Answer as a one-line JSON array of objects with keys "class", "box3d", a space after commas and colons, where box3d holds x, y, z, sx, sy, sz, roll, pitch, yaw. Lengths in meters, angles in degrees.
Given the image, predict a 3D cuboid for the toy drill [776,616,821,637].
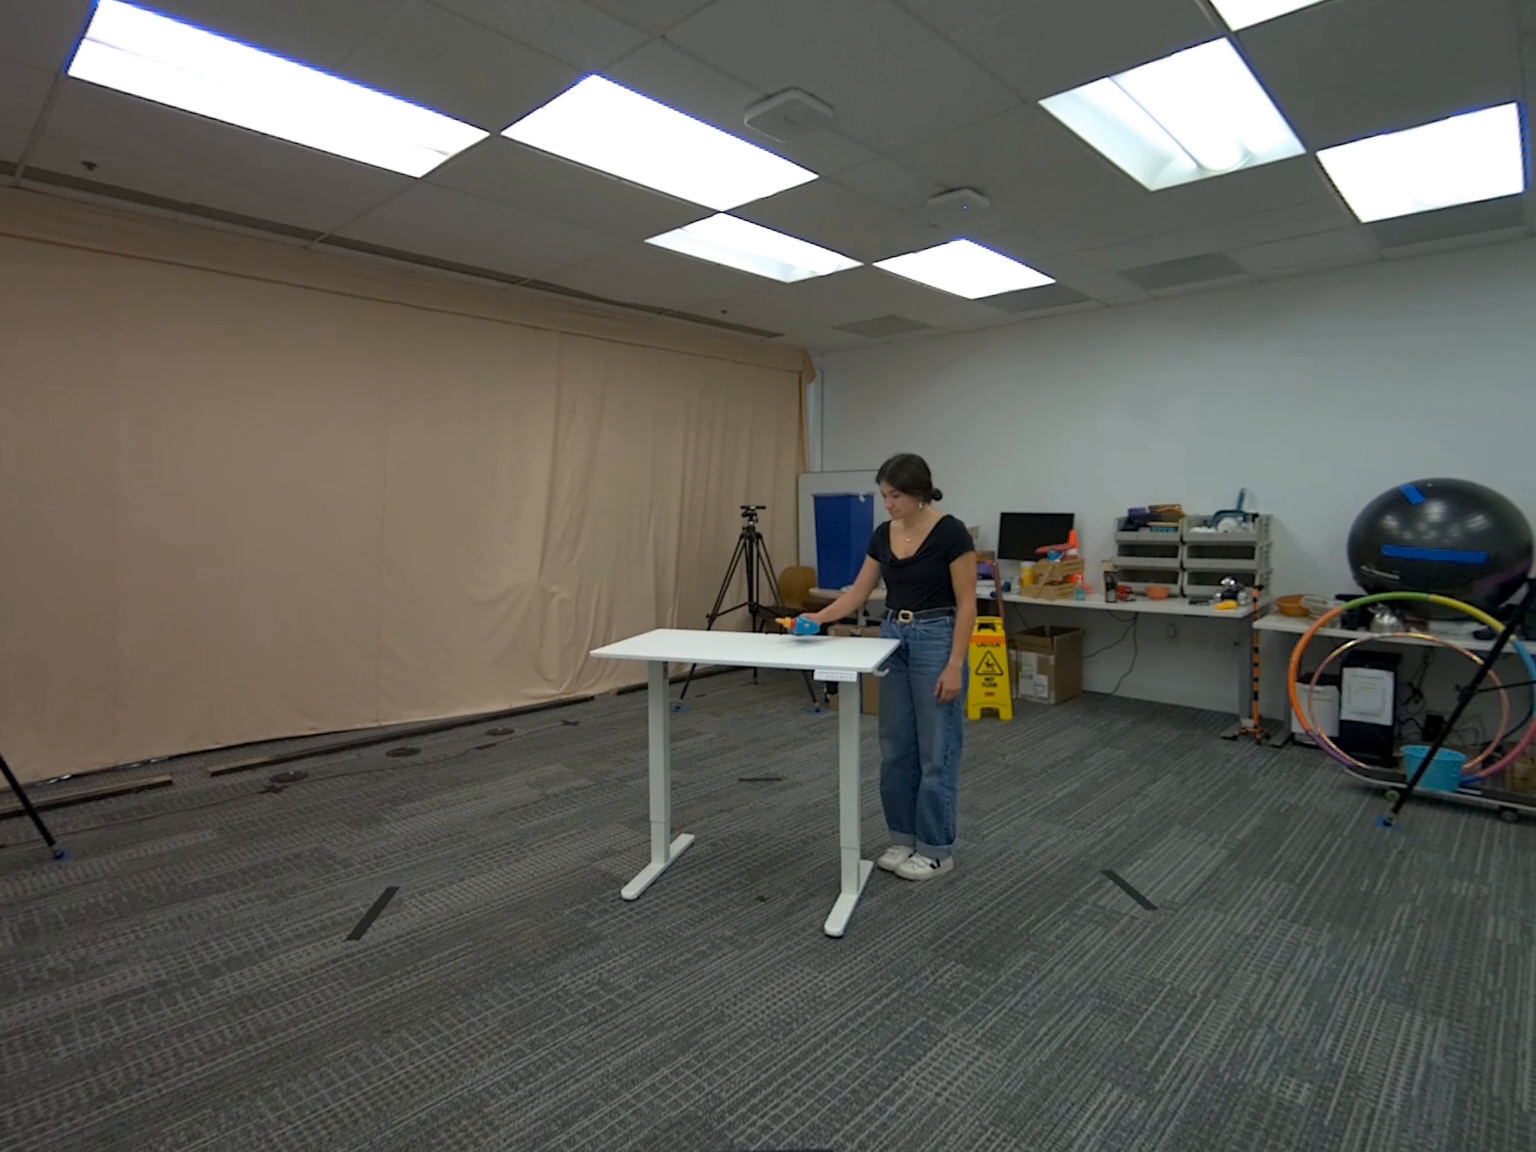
[{"class": "toy drill", "box3d": [0.103, 0.188, 3.144, 0.168, 0.061, 0.147, 12, -10, -11]}]
